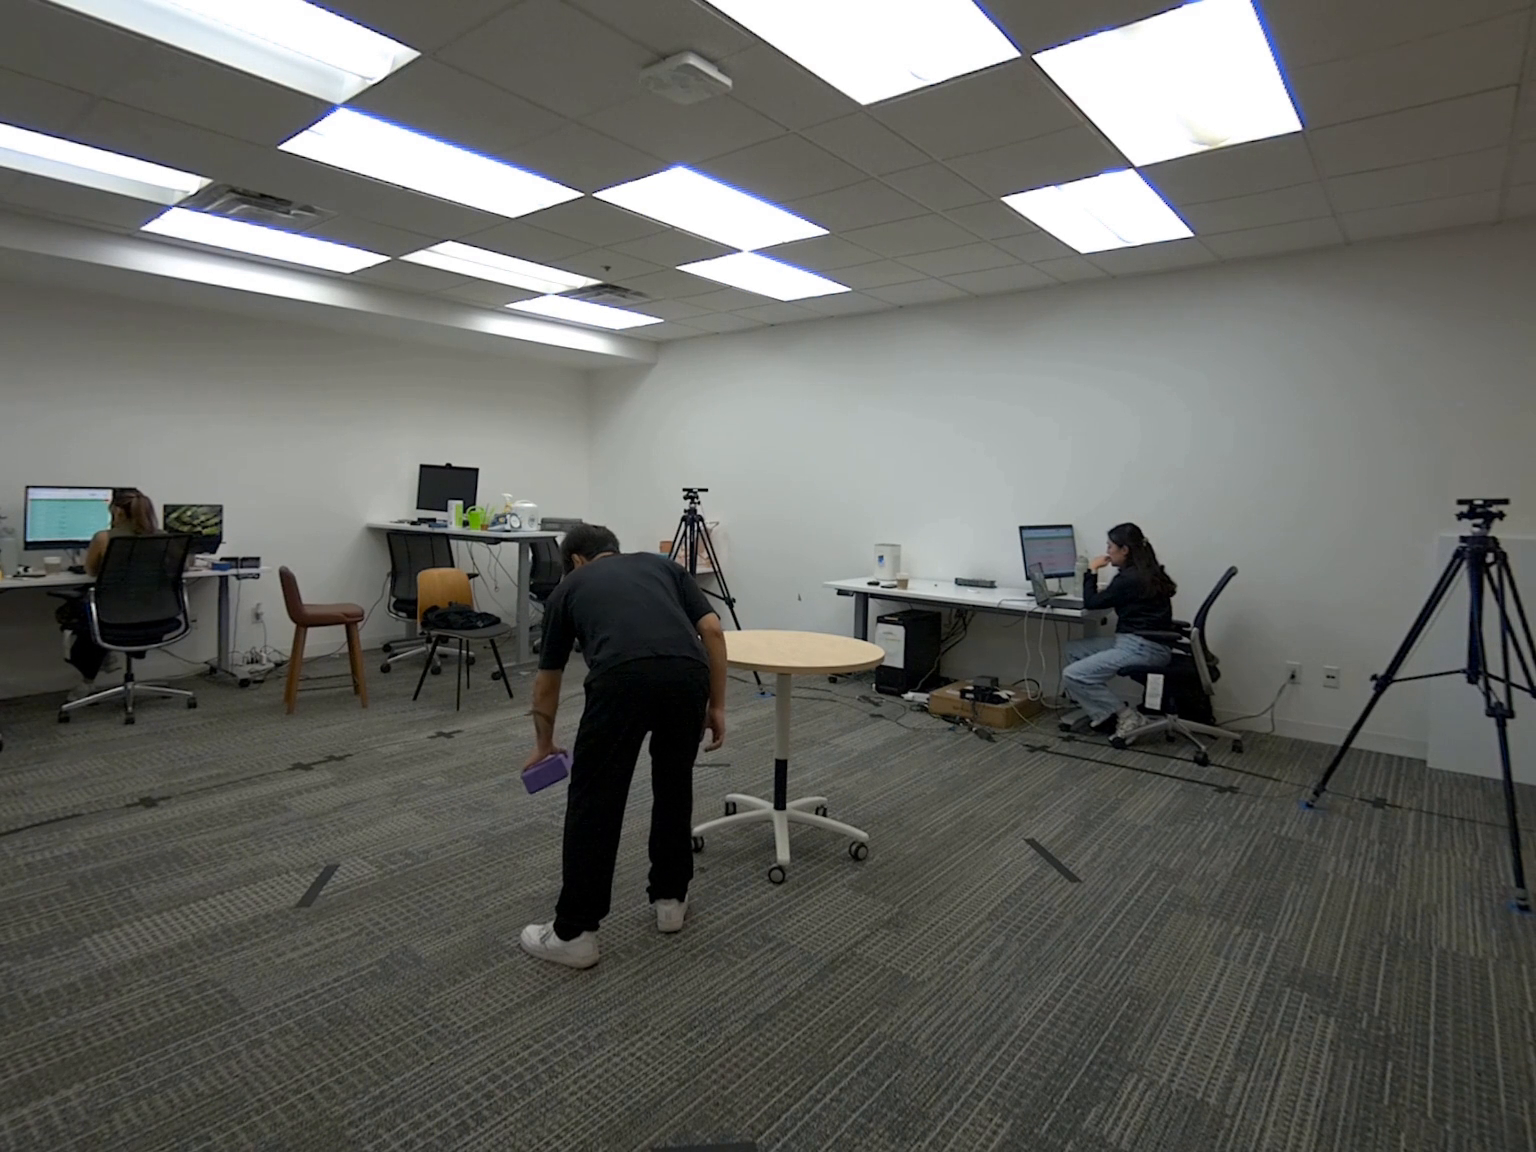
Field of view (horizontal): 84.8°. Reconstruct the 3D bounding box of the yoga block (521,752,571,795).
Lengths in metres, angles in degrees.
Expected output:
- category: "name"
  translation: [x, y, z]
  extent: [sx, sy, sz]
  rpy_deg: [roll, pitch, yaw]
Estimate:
- category: "yoga block"
  translation: [-0.783, 0.670, 2.965]
  extent: [0.148, 0.076, 0.230]
  rpy_deg: [-23, 4, -4]
